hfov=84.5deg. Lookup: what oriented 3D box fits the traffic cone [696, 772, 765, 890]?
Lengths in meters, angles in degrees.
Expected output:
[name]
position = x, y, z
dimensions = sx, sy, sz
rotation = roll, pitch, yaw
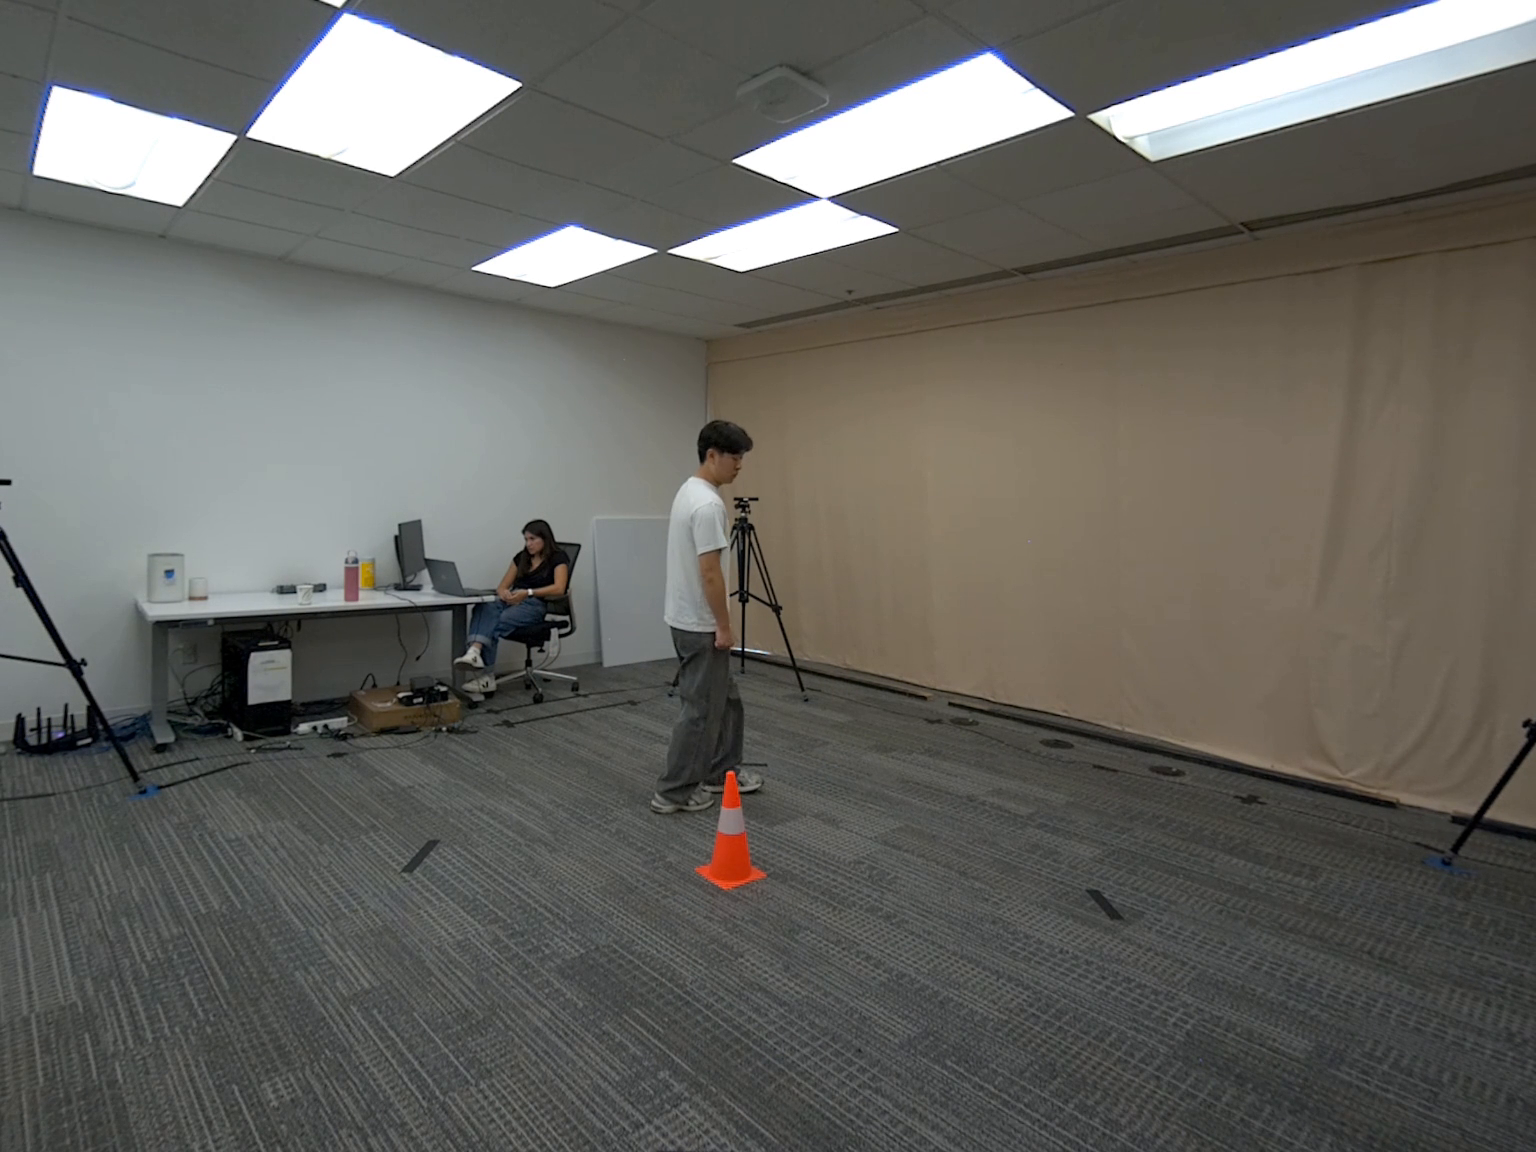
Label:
[traffic cone]
position = -0.146, 0.923, 3.113
dimensions = 0.199, 0.382, 0.210
rotation = -4, 7, -38
